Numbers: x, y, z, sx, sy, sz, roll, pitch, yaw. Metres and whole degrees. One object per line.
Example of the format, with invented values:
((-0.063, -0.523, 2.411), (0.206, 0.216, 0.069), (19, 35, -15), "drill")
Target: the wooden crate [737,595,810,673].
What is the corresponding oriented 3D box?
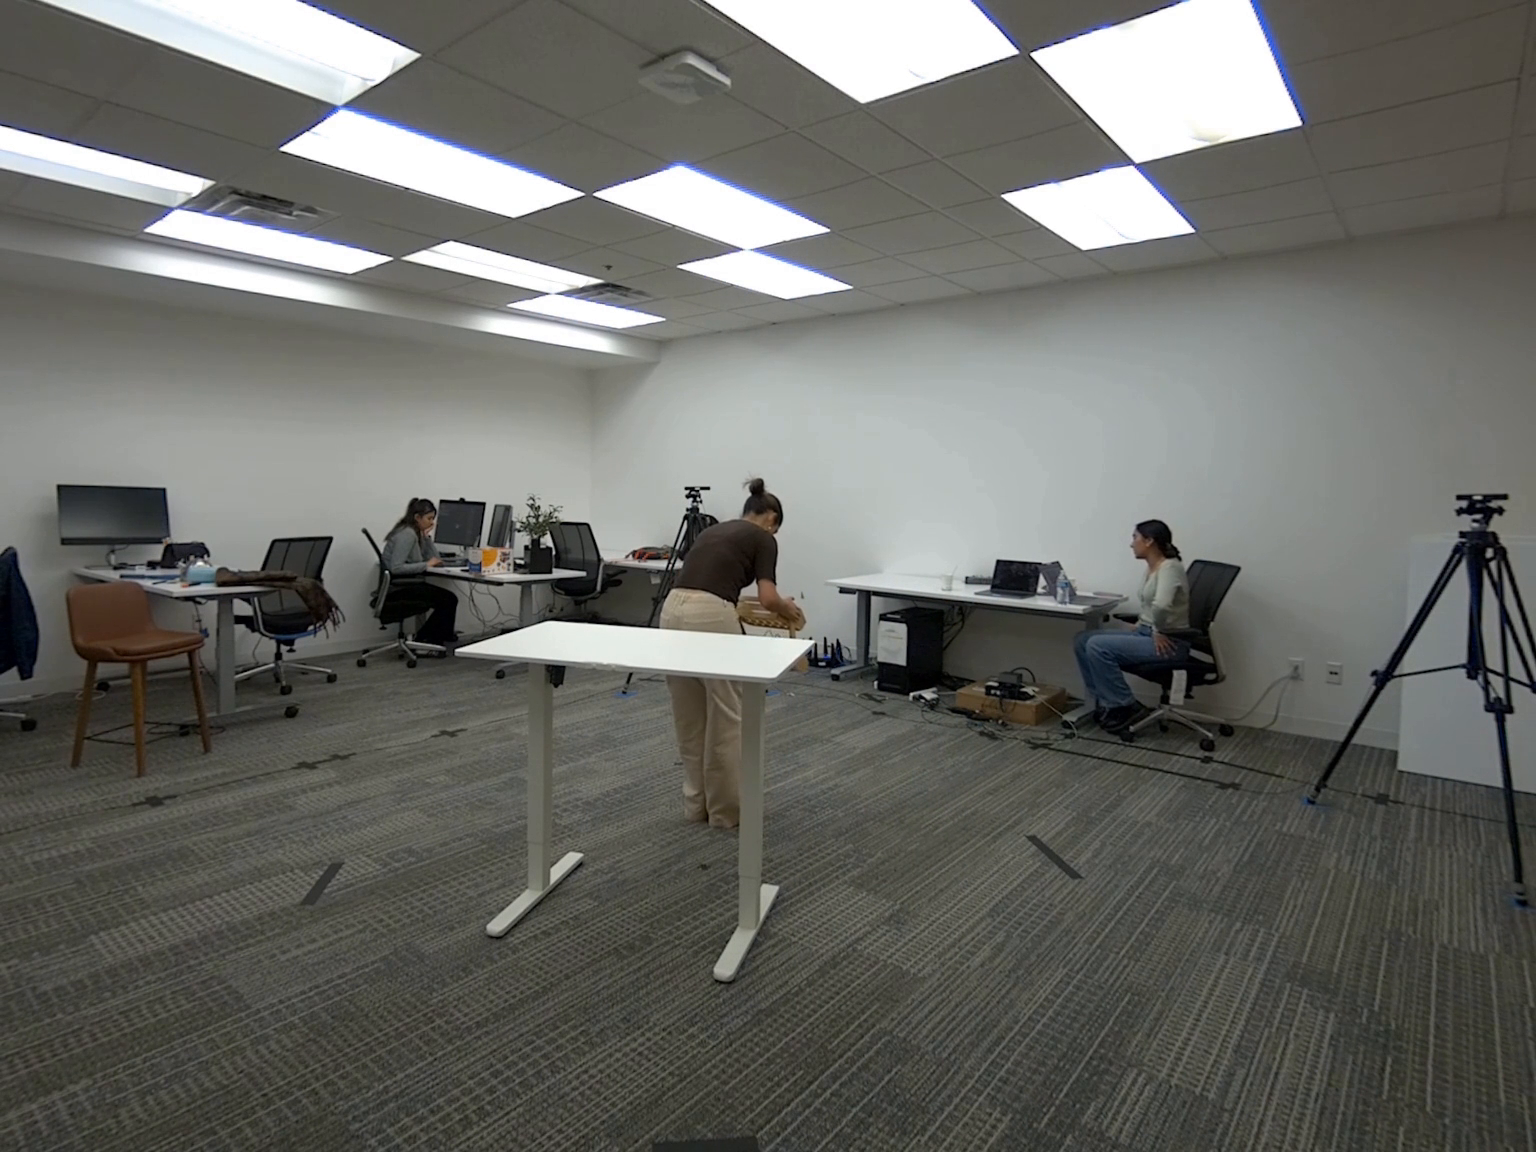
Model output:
((-0.004, 0.252, 3.841), (0.334, 0.276, 0.289), (2, -18, 35), "wooden crate")
